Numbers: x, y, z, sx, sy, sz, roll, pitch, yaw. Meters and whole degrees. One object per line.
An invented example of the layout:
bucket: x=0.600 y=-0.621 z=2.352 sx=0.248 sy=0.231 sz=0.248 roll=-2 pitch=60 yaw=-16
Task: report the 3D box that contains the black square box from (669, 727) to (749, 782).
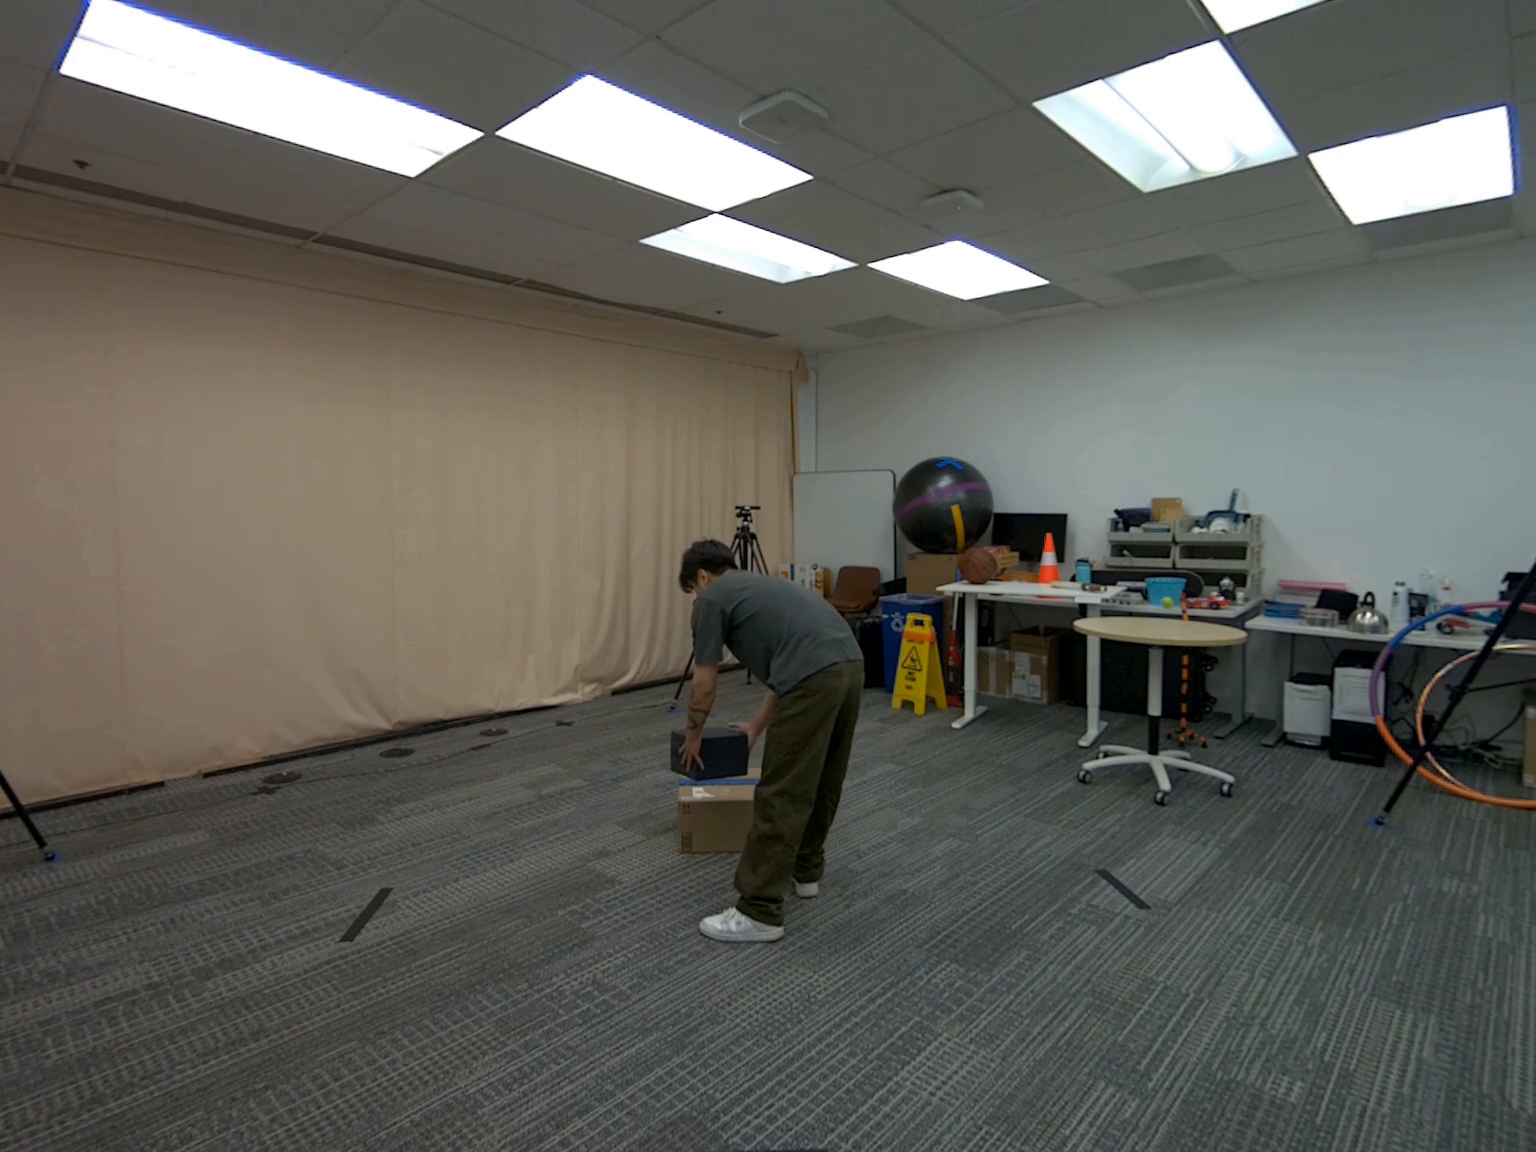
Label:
black square box: x=-0.226 y=0.681 z=3.249 sx=0.221 sy=0.156 sz=0.223 roll=1 pitch=-2 yaw=-30
